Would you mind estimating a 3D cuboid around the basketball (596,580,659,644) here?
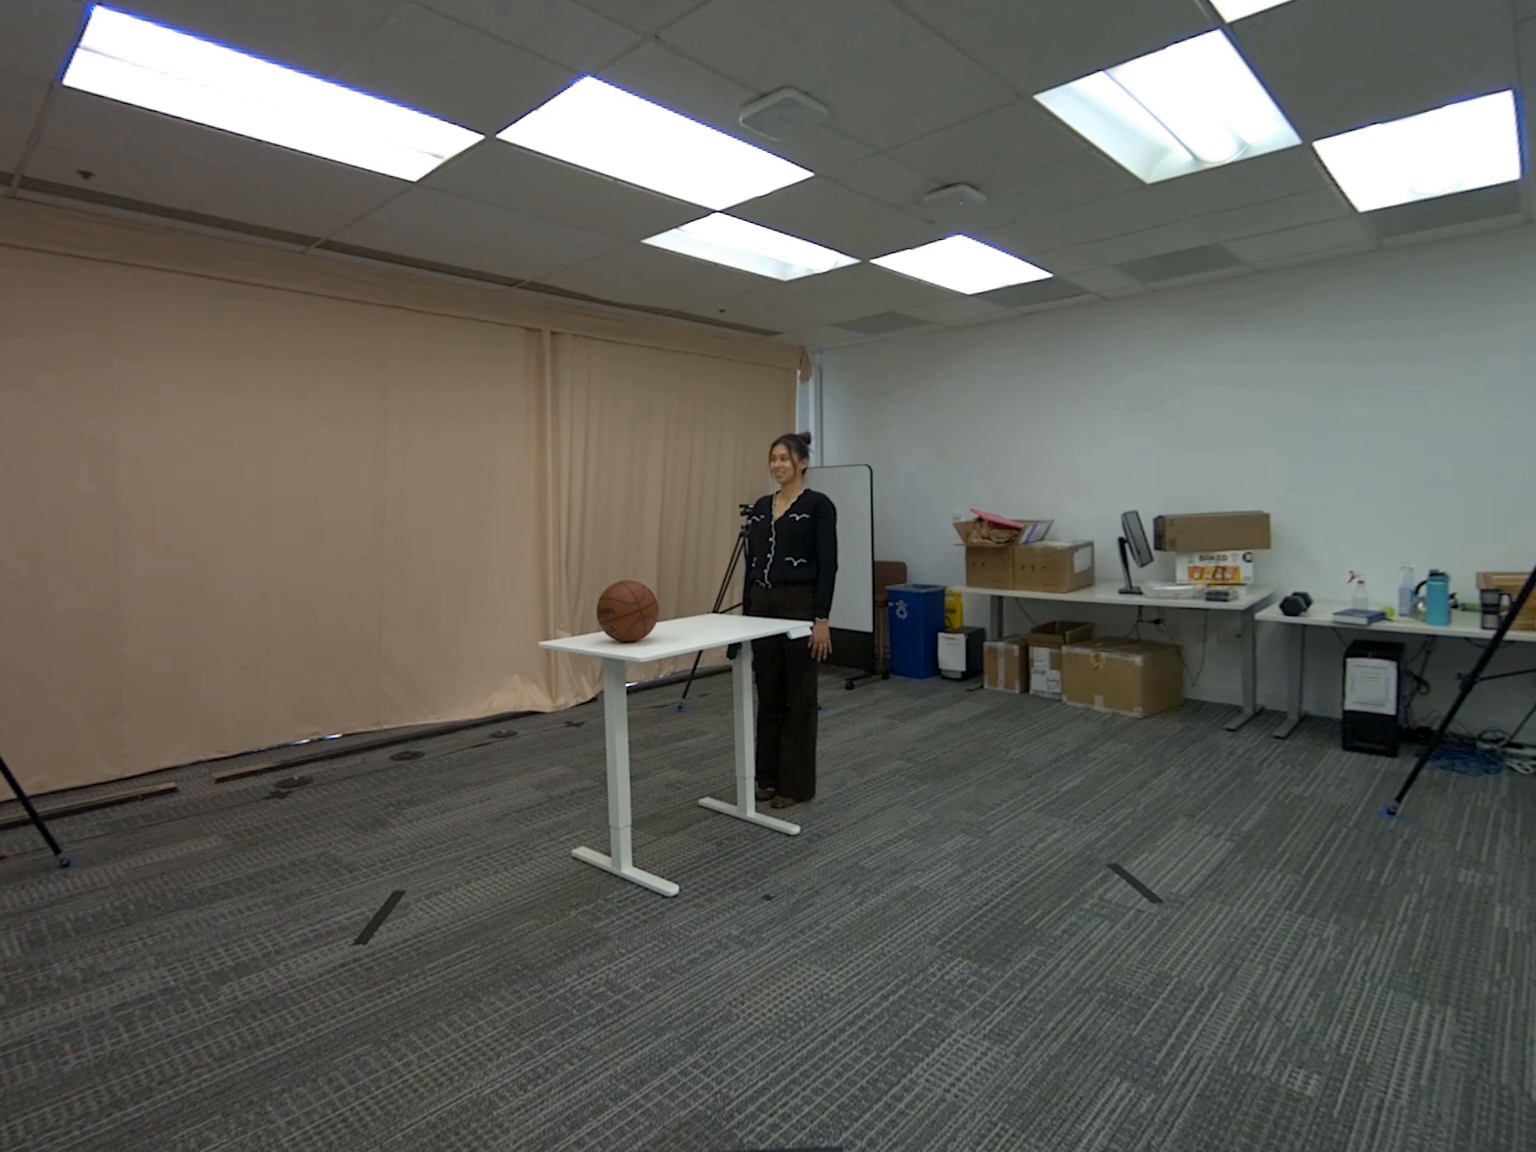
[{"bbox_3d":[-0.542,0.137,3.216,0.236,0.235,0.237,-1,4,-2],"label":"basketball"}]
